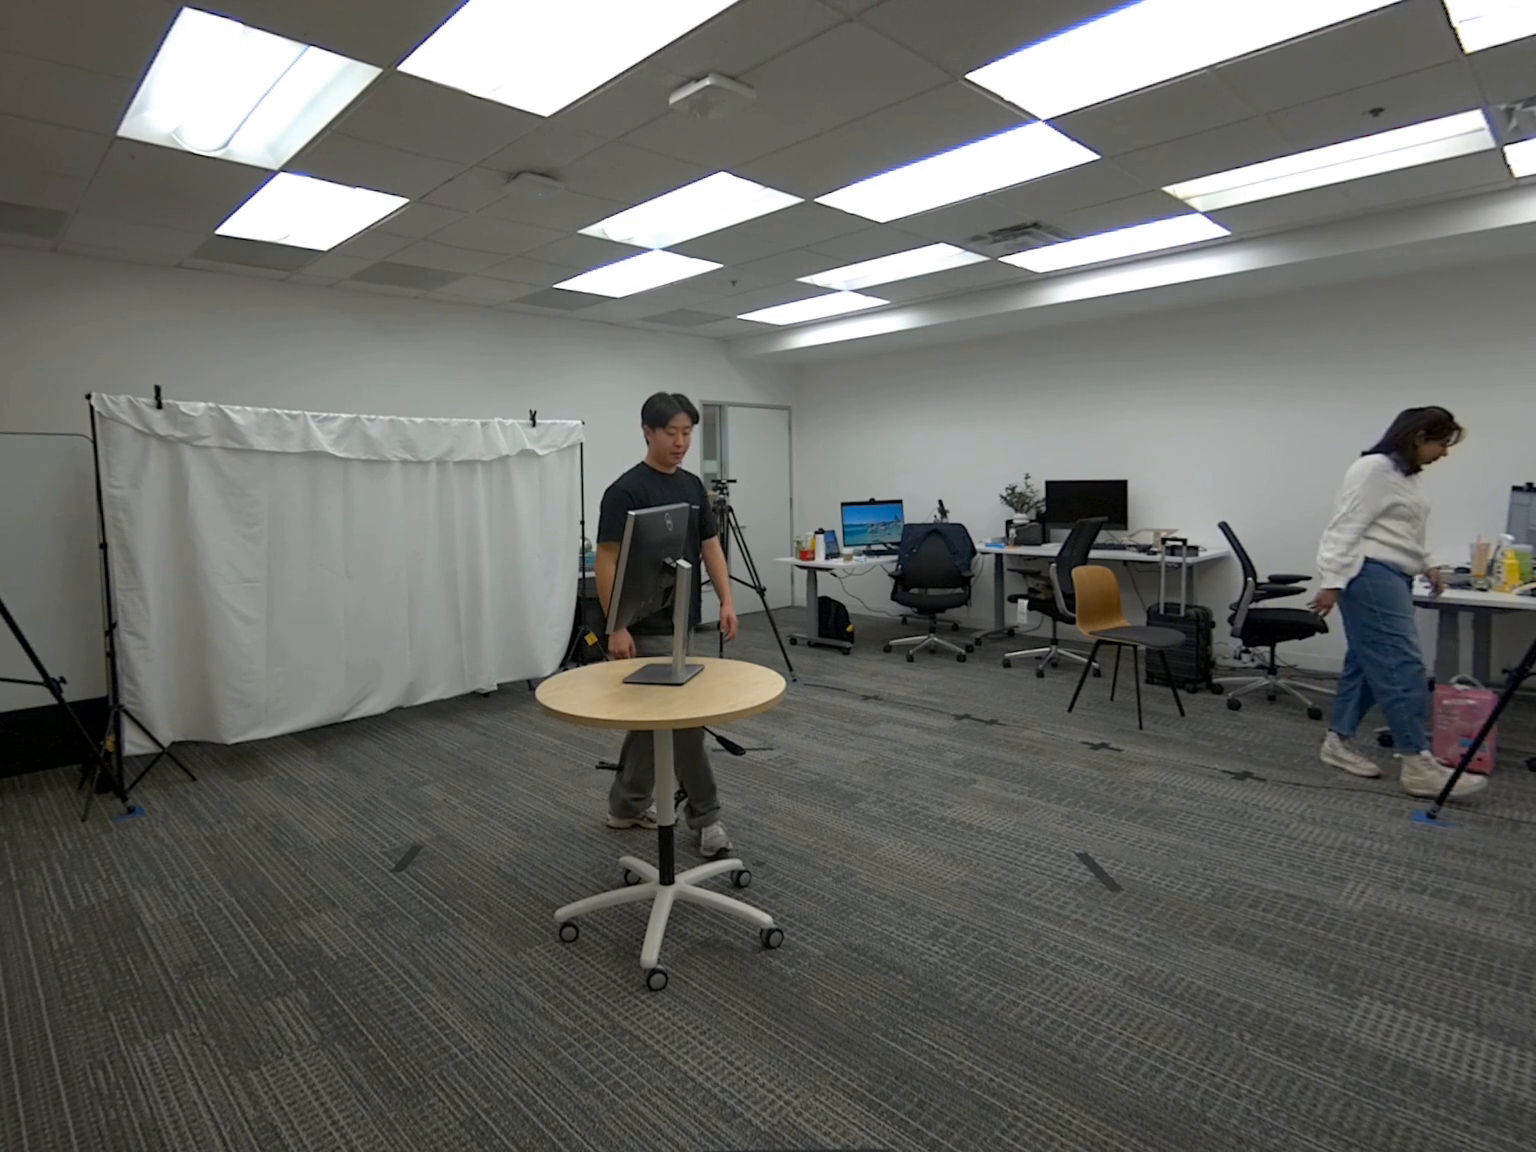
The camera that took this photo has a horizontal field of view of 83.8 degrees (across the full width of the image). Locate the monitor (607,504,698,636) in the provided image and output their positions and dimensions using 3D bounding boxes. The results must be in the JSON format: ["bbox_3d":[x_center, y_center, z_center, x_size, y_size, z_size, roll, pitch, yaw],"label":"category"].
[{"bbox_3d":[-0.348,0.063,2.722,0.225,0.564,0.556,-2,5,15],"label":"monitor"}]
